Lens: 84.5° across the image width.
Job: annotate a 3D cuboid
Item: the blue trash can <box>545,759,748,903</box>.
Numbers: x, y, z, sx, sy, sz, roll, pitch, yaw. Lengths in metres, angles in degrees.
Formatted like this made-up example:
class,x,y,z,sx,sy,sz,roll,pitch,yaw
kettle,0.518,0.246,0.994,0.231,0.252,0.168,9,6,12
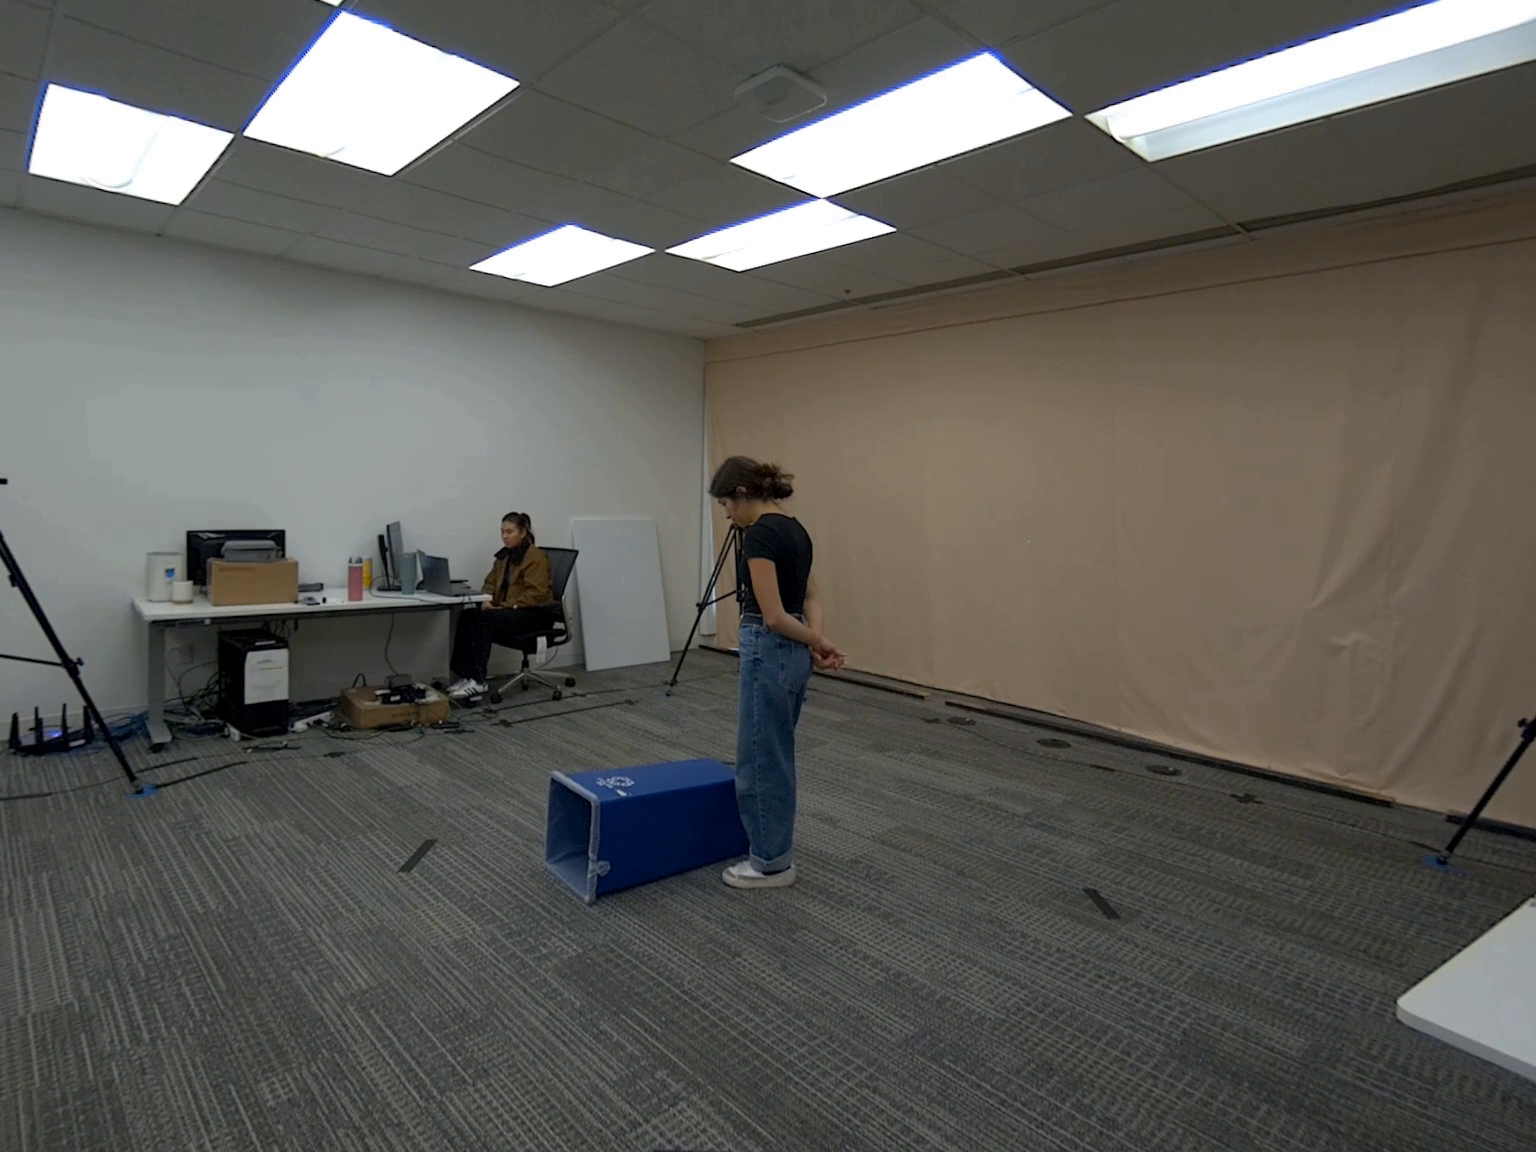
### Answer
class,x,y,z,sx,sy,sz,roll,pitch,yaw
blue trash can,-0.447,0.924,3.199,0.696,0.377,0.384,1,4,-40
